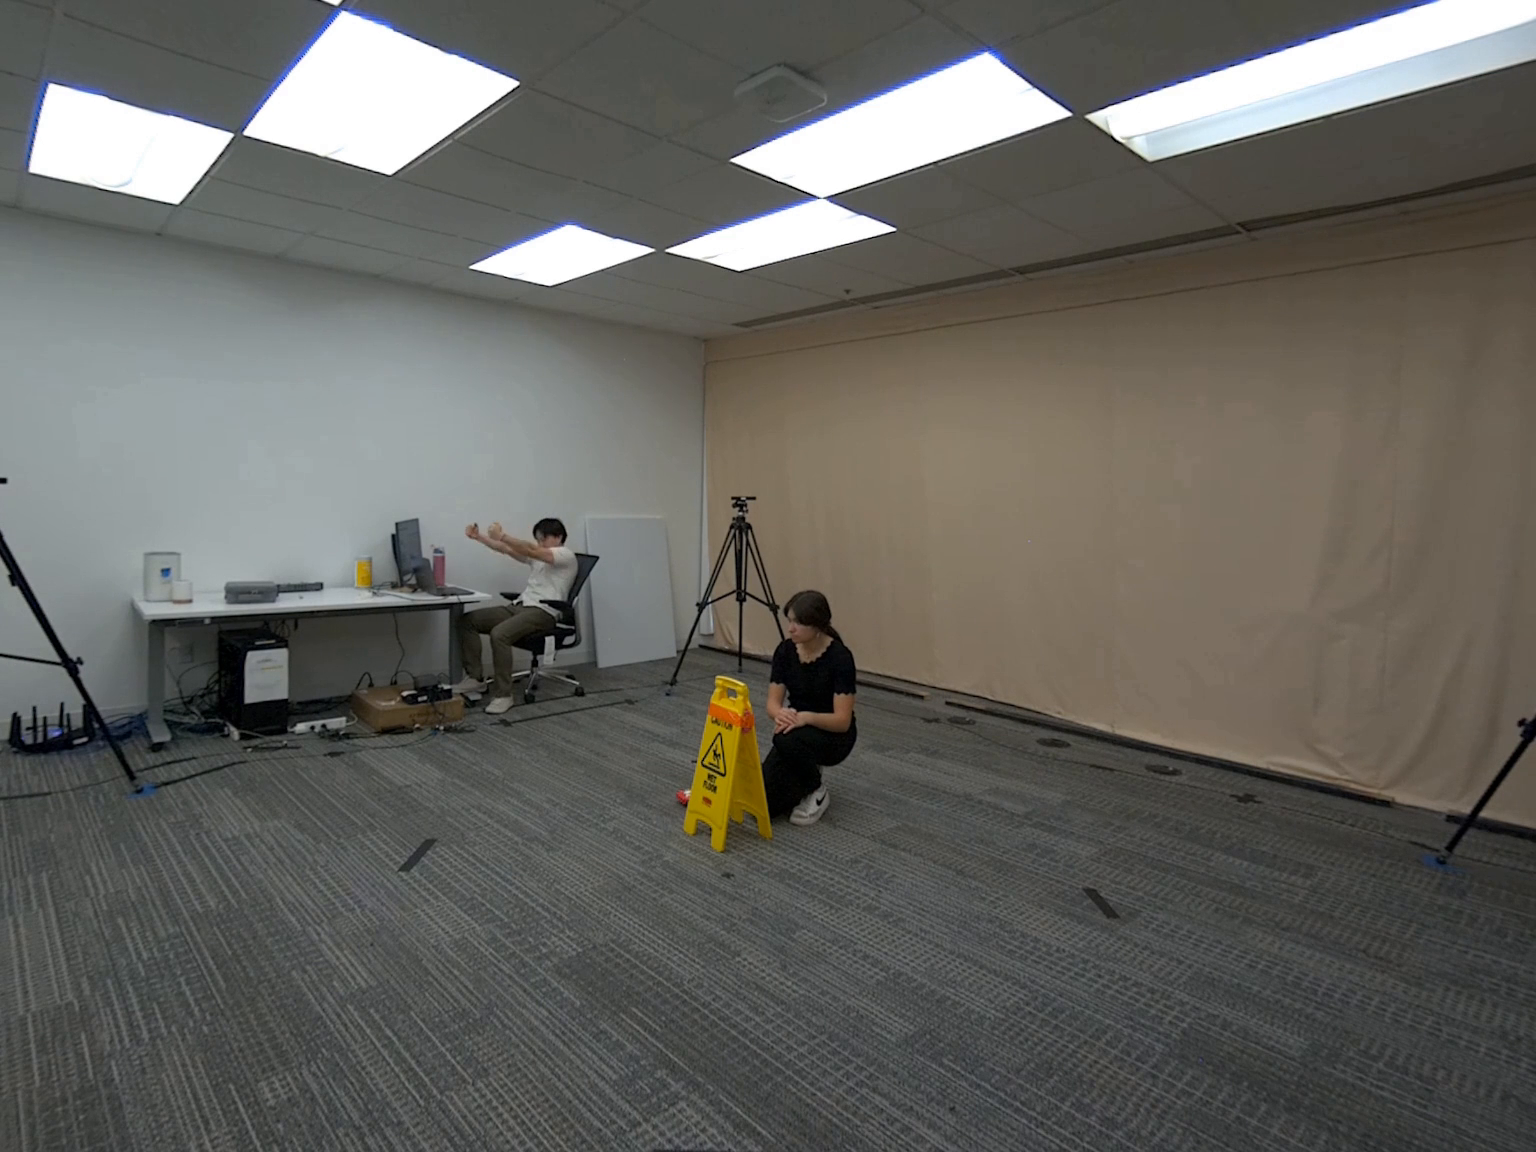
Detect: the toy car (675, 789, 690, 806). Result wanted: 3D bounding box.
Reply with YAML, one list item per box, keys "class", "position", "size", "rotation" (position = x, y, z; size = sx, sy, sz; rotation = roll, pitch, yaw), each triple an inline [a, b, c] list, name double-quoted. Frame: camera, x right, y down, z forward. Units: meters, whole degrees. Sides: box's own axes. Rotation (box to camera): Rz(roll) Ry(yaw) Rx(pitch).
- class: "toy car"
  position: [-0.290, 0.998, 3.859]
  size: [0.251, 0.082, 0.133]
  rotation: [-13, 10, -25]
